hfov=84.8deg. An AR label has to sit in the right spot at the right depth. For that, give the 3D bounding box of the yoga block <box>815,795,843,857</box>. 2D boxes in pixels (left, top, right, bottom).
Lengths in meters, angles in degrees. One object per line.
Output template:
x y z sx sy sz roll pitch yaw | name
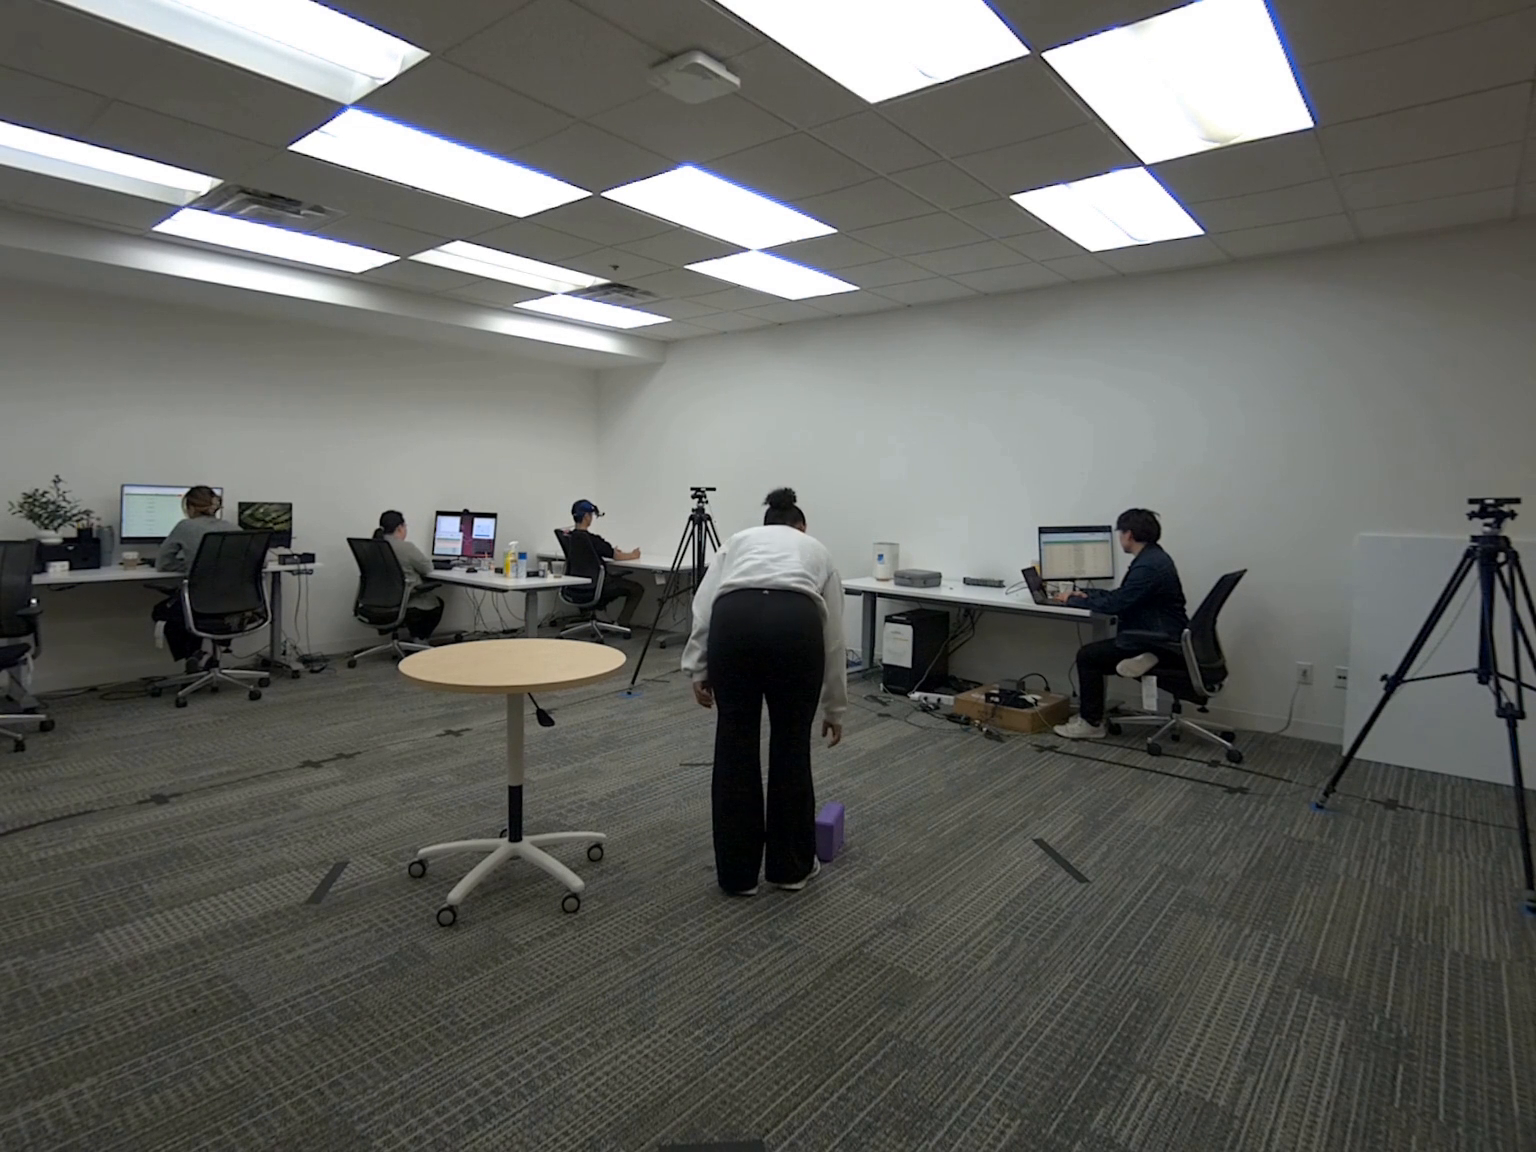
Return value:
0.227 0.971 3.288 0.078 0.149 0.225 2 3 16 | yoga block
